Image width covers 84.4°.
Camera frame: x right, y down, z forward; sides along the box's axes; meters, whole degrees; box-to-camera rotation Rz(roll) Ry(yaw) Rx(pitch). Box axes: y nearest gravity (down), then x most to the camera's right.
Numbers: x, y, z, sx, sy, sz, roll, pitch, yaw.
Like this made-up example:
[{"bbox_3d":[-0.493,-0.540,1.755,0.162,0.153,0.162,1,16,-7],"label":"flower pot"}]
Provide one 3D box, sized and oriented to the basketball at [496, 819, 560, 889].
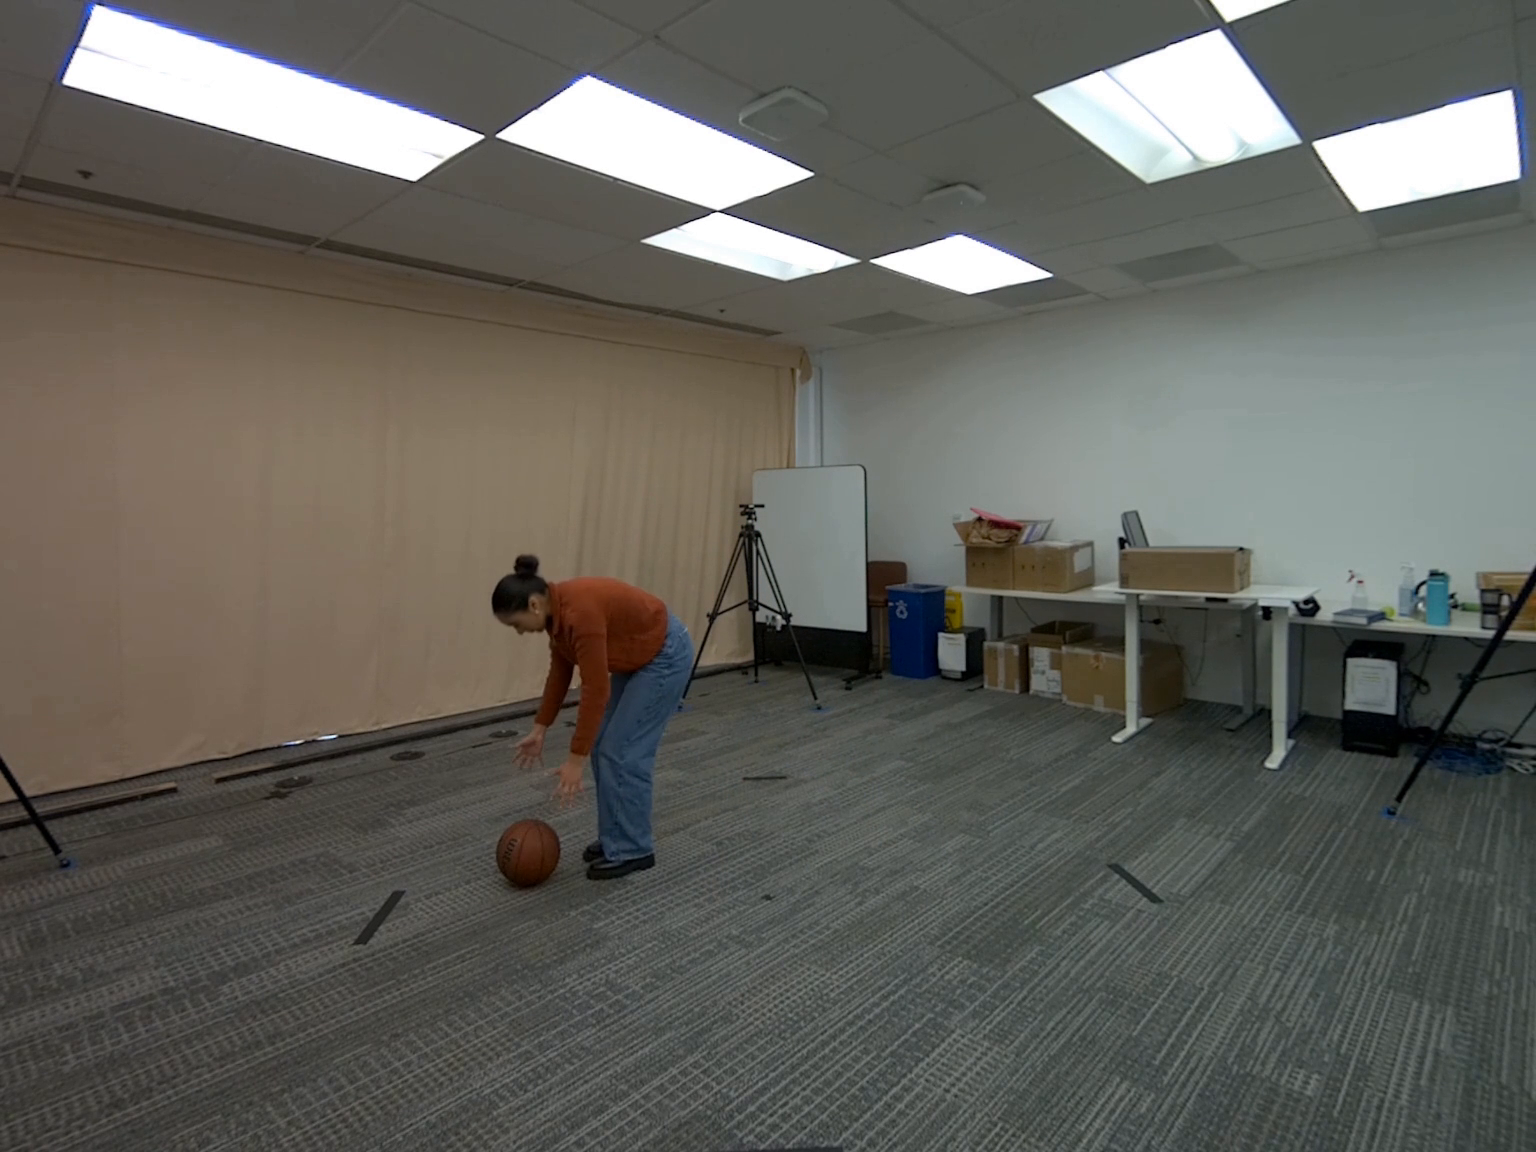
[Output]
[{"bbox_3d":[-0.893,1.026,3.143,0.236,0.235,0.237,-1,4,-2],"label":"basketball"}]
